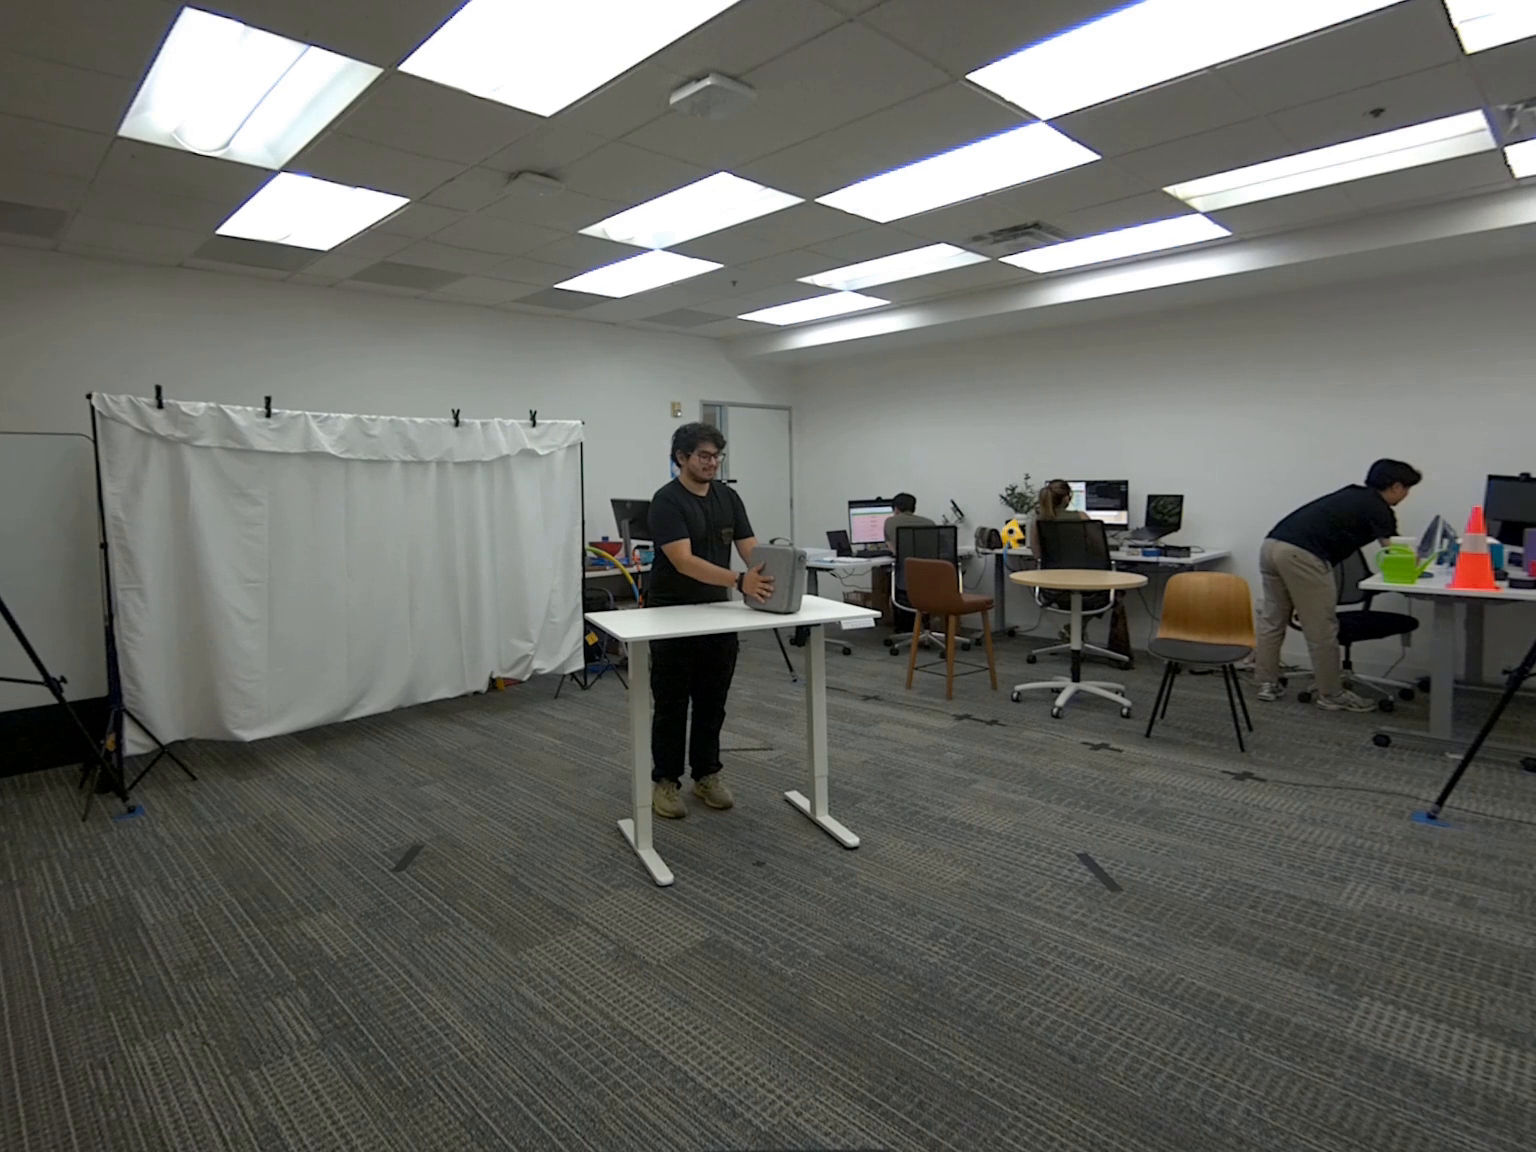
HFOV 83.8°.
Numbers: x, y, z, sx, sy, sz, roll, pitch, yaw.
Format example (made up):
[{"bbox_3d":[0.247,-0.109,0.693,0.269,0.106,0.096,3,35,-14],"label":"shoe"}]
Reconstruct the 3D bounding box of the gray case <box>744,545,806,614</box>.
[{"bbox_3d":[0.028,0.006,3.324,0.101,0.261,0.264,9,-3,-36],"label":"gray case"}]
